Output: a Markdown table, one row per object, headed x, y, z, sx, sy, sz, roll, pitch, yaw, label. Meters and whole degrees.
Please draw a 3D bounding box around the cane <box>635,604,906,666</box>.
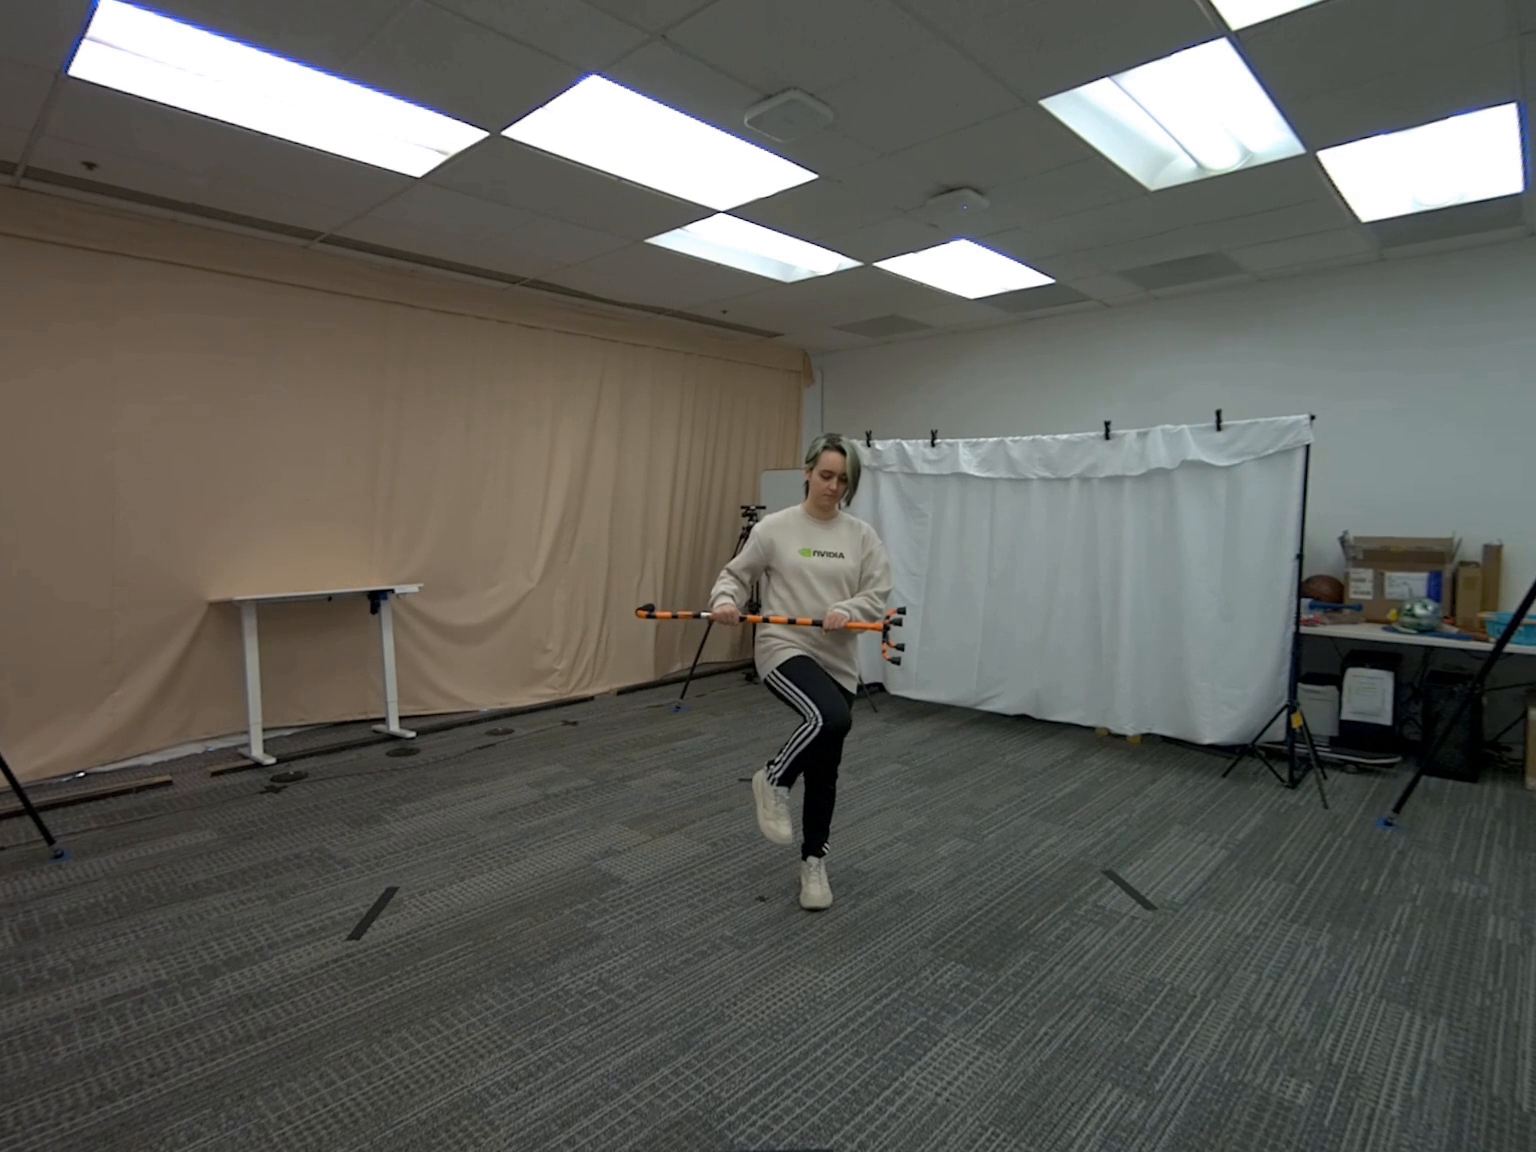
| x | y | z | sx | sy | sz | roll | pitch | yaw | label |
| --- | --- | --- | --- | --- | --- | --- | --- | --- | --- |
| -0.012 | 0.165 | 2.781 | 0.924 | 0.151 | 0.204 | 3 | 10 | 16 | cane |
